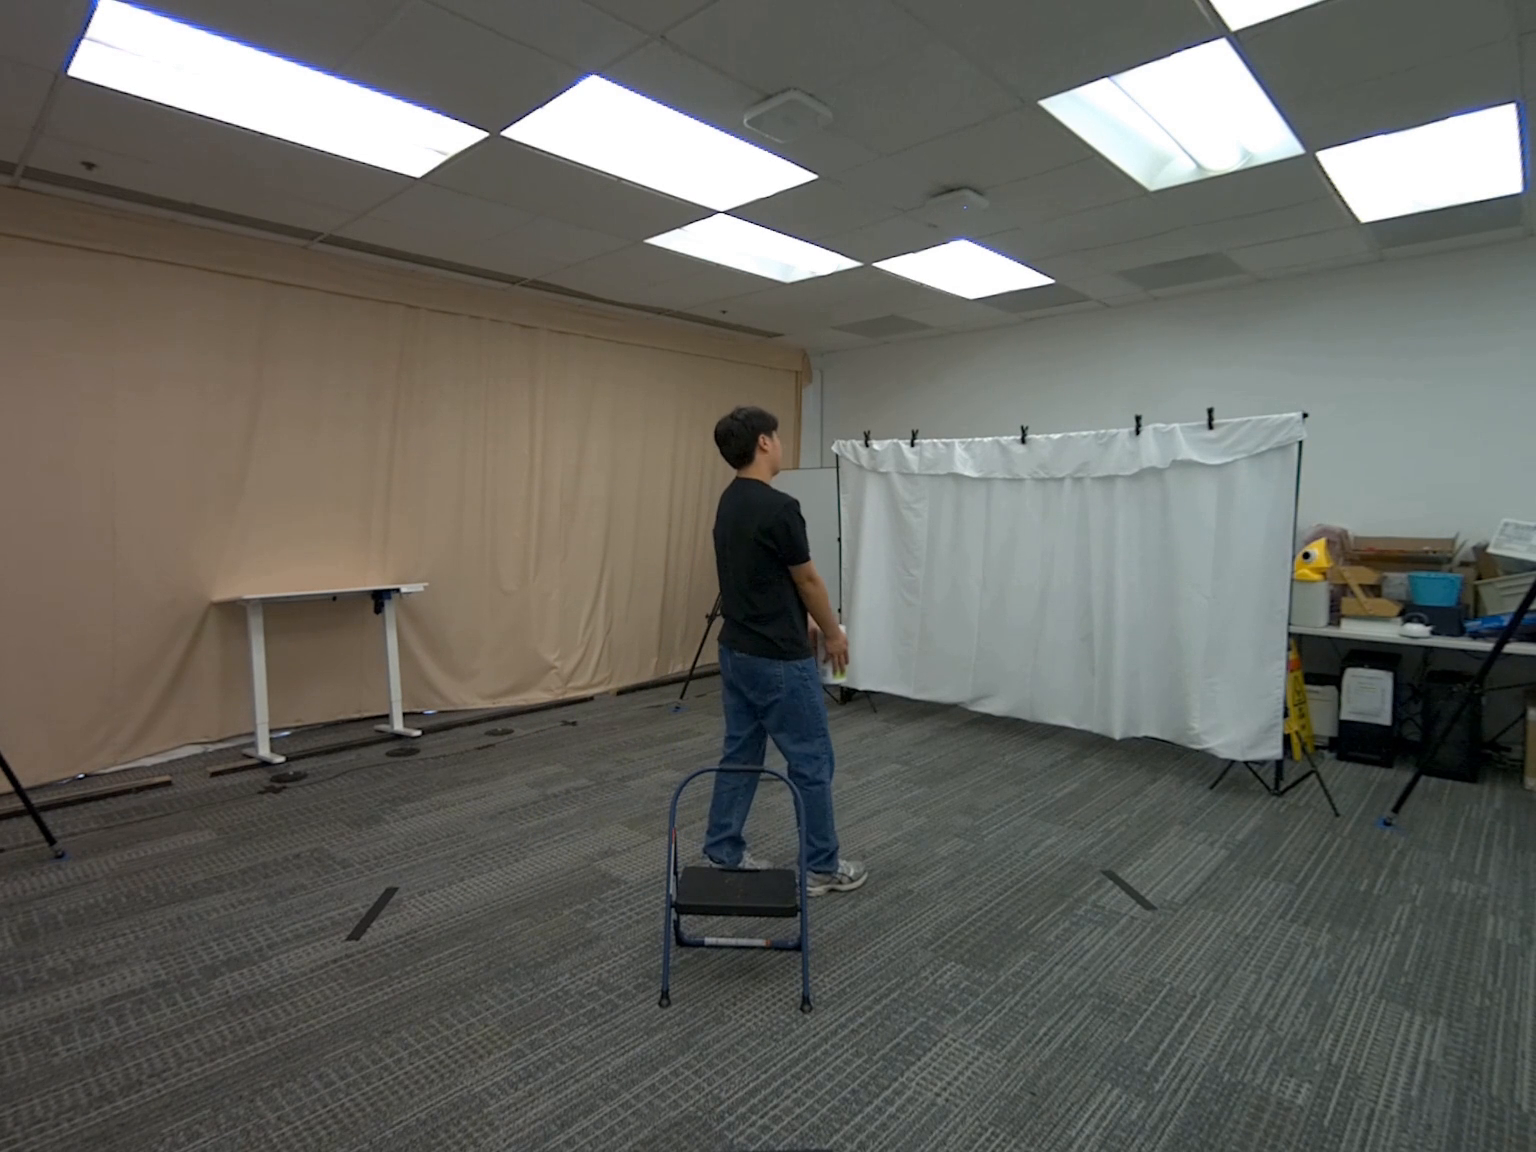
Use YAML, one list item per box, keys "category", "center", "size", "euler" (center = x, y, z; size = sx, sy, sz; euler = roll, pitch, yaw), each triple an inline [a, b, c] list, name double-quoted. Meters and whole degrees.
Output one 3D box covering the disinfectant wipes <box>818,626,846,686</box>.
- category: "disinfectant wipes"
  center: [0.255, 0.303, 3.201]
  size: [0.118, 0.217, 0.118]
  euler: [-1, 2, -2]
